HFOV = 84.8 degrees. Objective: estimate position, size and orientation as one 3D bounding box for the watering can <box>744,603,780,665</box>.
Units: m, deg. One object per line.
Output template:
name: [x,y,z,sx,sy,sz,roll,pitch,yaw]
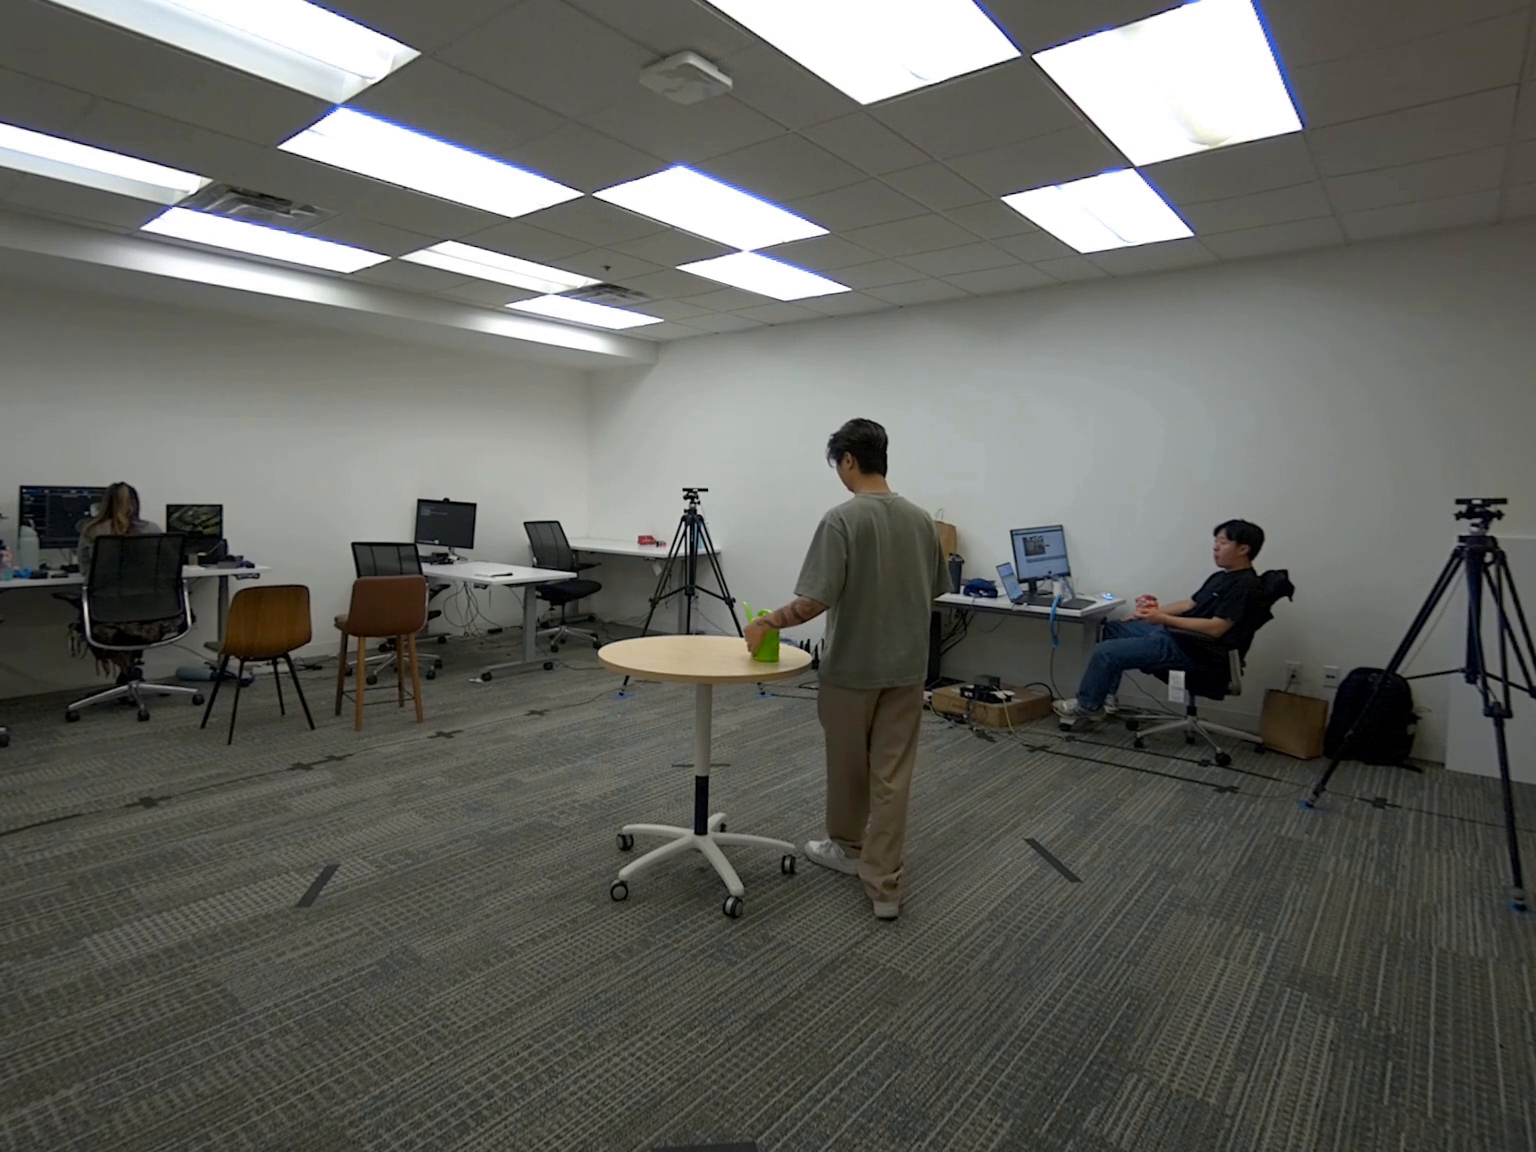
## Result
watering can: [-0.021,0.198,3.033,0.098,0.176,0.280,3,6,-4]
